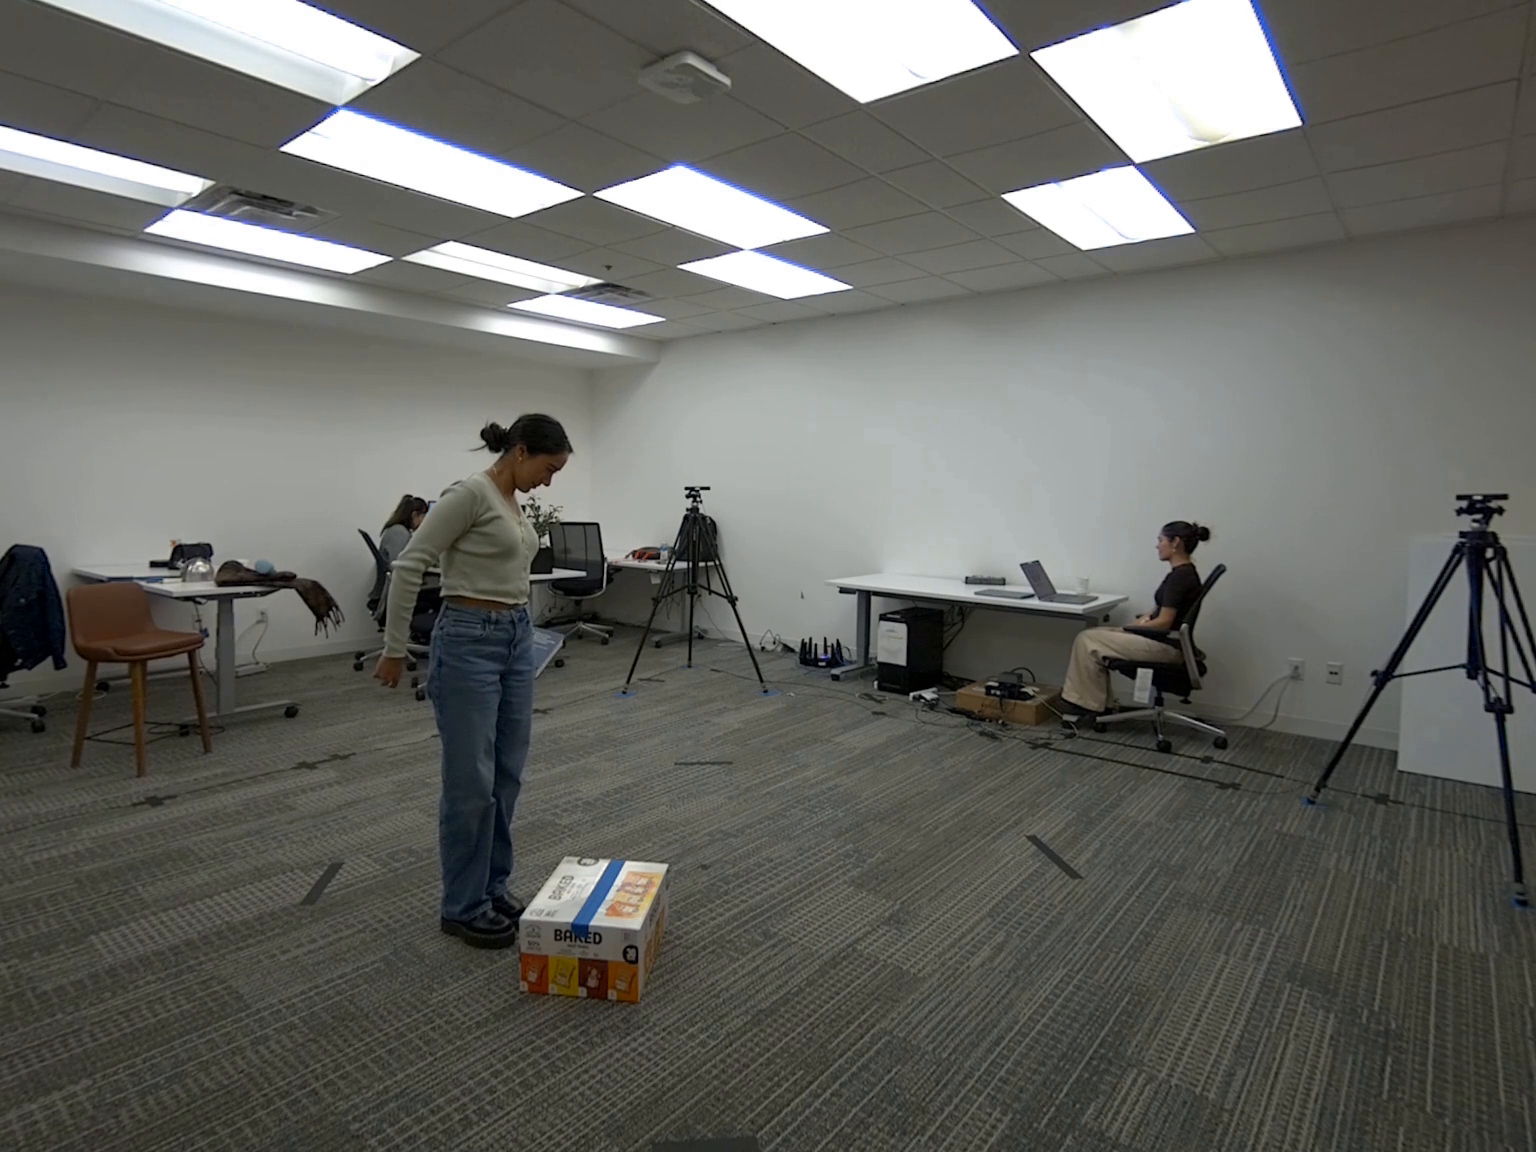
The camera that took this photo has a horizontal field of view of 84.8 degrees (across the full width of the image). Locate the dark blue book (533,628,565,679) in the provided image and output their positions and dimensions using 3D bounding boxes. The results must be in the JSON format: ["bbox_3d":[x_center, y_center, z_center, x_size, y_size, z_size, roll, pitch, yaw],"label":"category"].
[{"bbox_3d":[-0.853,0.262,2.990,0.165,0.044,0.246,13,25,8],"label":"dark blue book"}]
